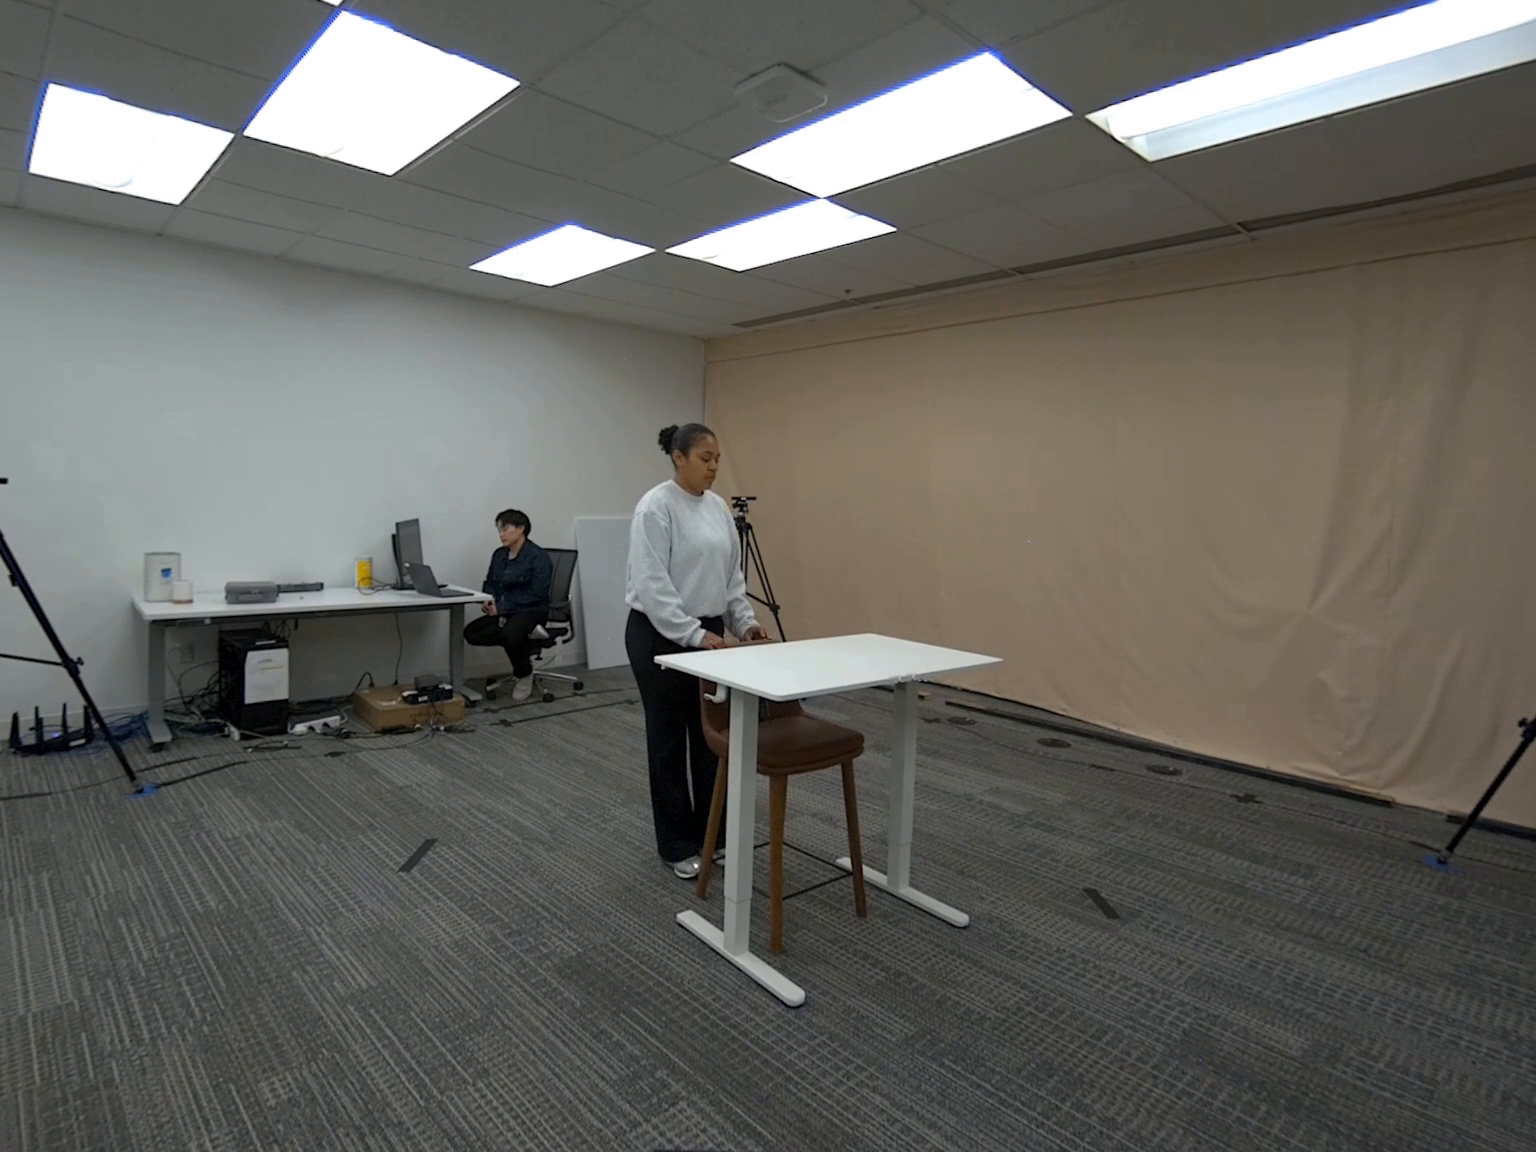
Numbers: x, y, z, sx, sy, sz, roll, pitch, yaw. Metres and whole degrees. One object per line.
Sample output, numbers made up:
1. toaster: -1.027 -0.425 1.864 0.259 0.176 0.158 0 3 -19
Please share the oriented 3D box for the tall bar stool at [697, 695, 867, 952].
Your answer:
1. tall bar stool: 0.030 0.695 2.859 0.446 0.889 0.478 -2 2 -39
